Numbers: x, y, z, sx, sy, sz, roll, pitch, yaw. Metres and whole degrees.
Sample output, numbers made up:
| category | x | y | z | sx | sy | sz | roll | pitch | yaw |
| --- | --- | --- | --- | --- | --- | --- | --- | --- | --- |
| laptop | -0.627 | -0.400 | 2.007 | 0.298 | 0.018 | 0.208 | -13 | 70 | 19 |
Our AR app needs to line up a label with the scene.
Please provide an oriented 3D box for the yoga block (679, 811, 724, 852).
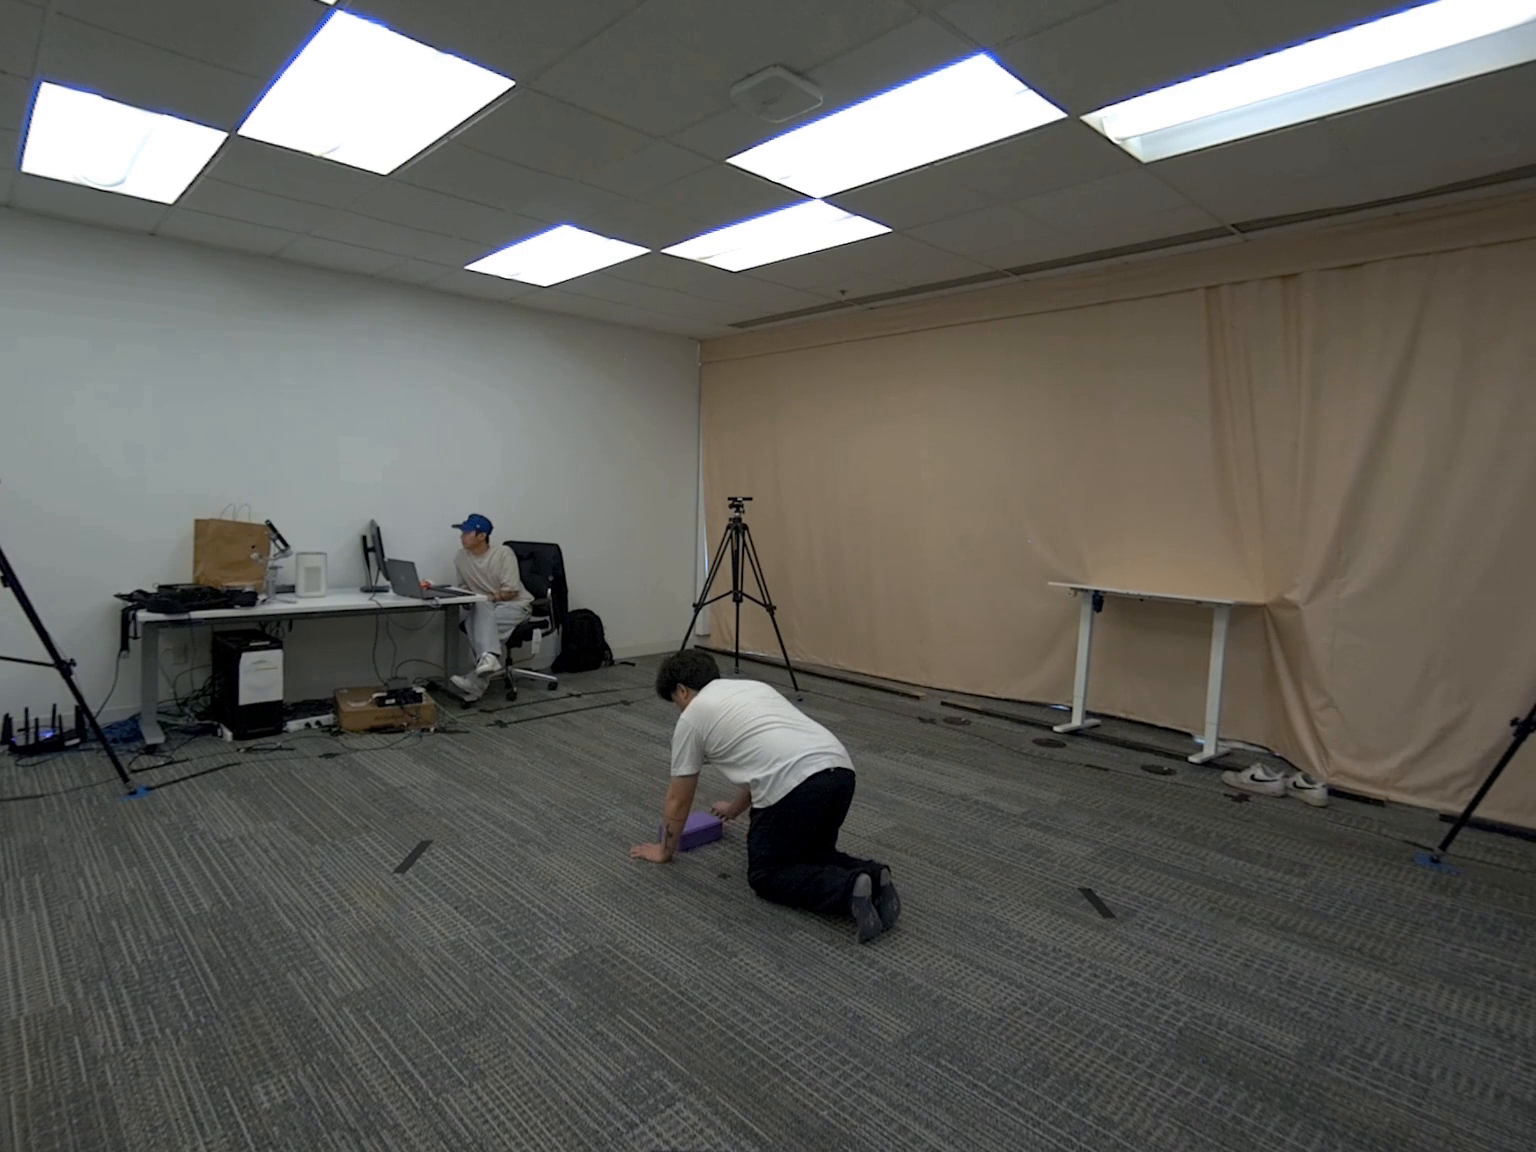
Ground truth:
| category | x | y | z | sx | sy | sz | roll | pitch | yaw |
| --- | --- | --- | --- | --- | --- | --- | --- | --- | --- |
| yoga block | -0.322 | 1.037 | 3.426 | 0.224 | 0.076 | 0.153 | -4 | 7 | -44 |
